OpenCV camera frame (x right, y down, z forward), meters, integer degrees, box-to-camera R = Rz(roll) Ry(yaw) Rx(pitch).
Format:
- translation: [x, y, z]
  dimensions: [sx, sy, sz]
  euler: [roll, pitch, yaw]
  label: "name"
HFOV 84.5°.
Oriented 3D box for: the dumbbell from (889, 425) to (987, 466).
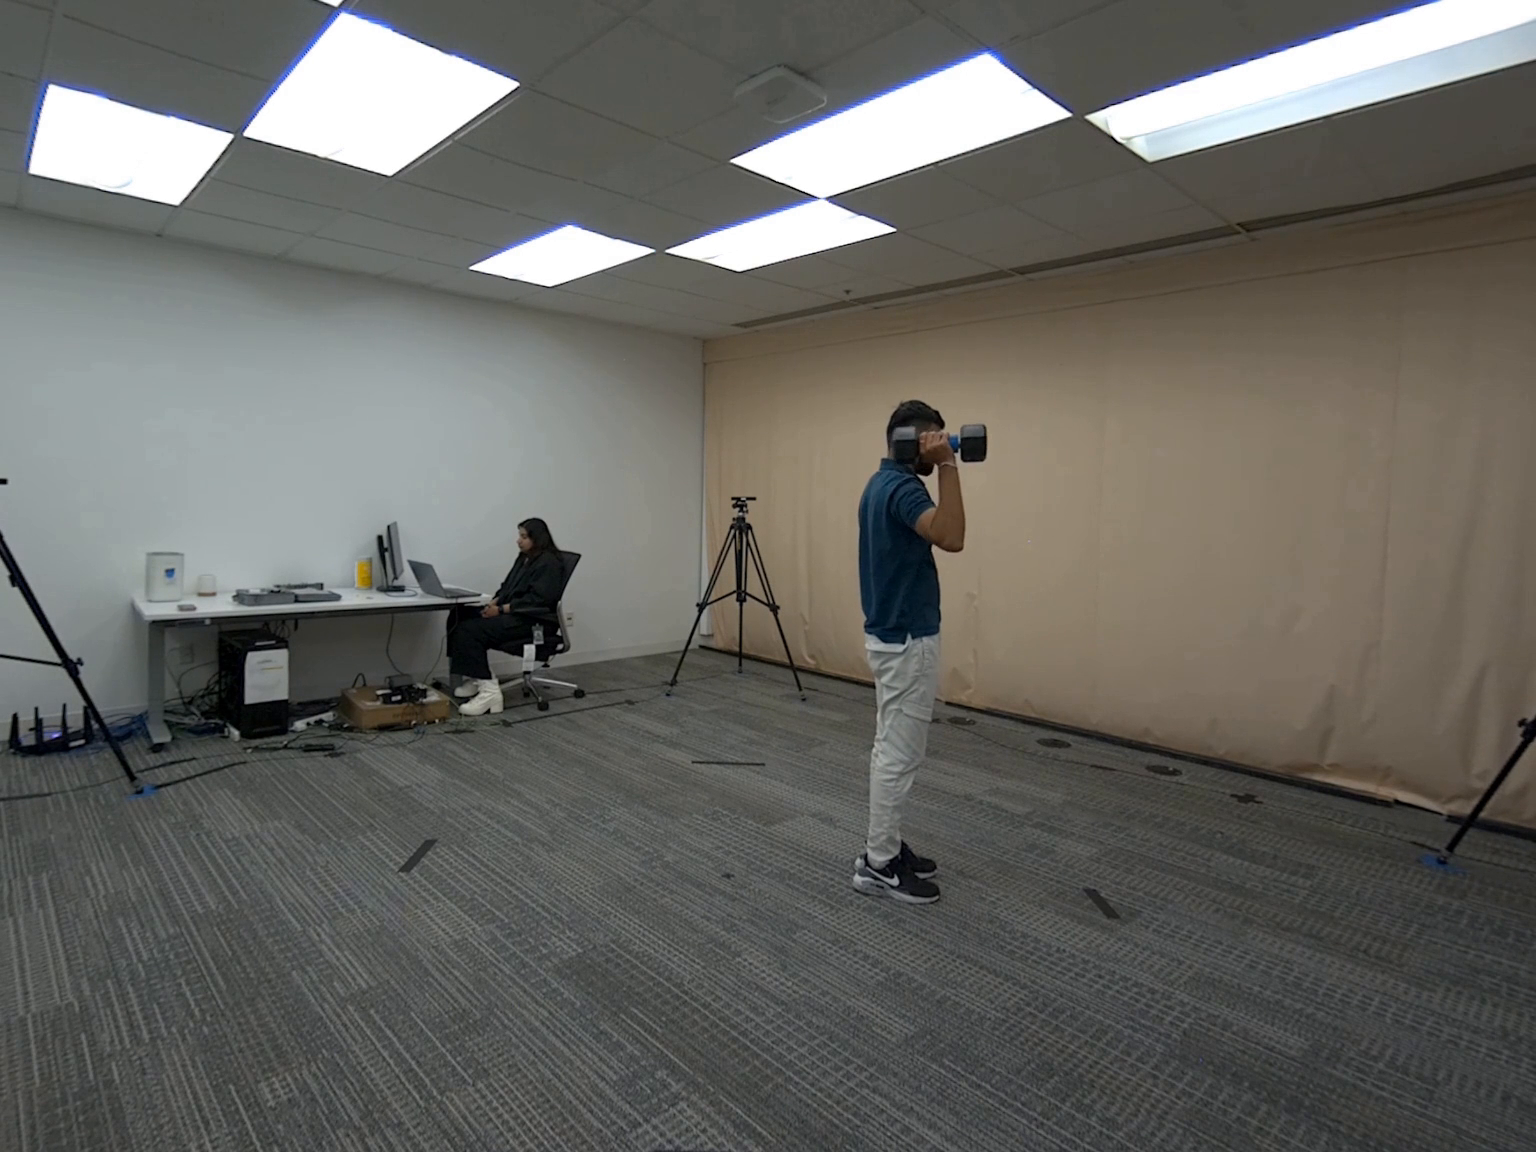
- translation: [0.543, -0.435, 2.707]
  dimensions: [0.296, 0.109, 0.121]
  euler: [-1, -10, 13]
  label: "dumbbell"
